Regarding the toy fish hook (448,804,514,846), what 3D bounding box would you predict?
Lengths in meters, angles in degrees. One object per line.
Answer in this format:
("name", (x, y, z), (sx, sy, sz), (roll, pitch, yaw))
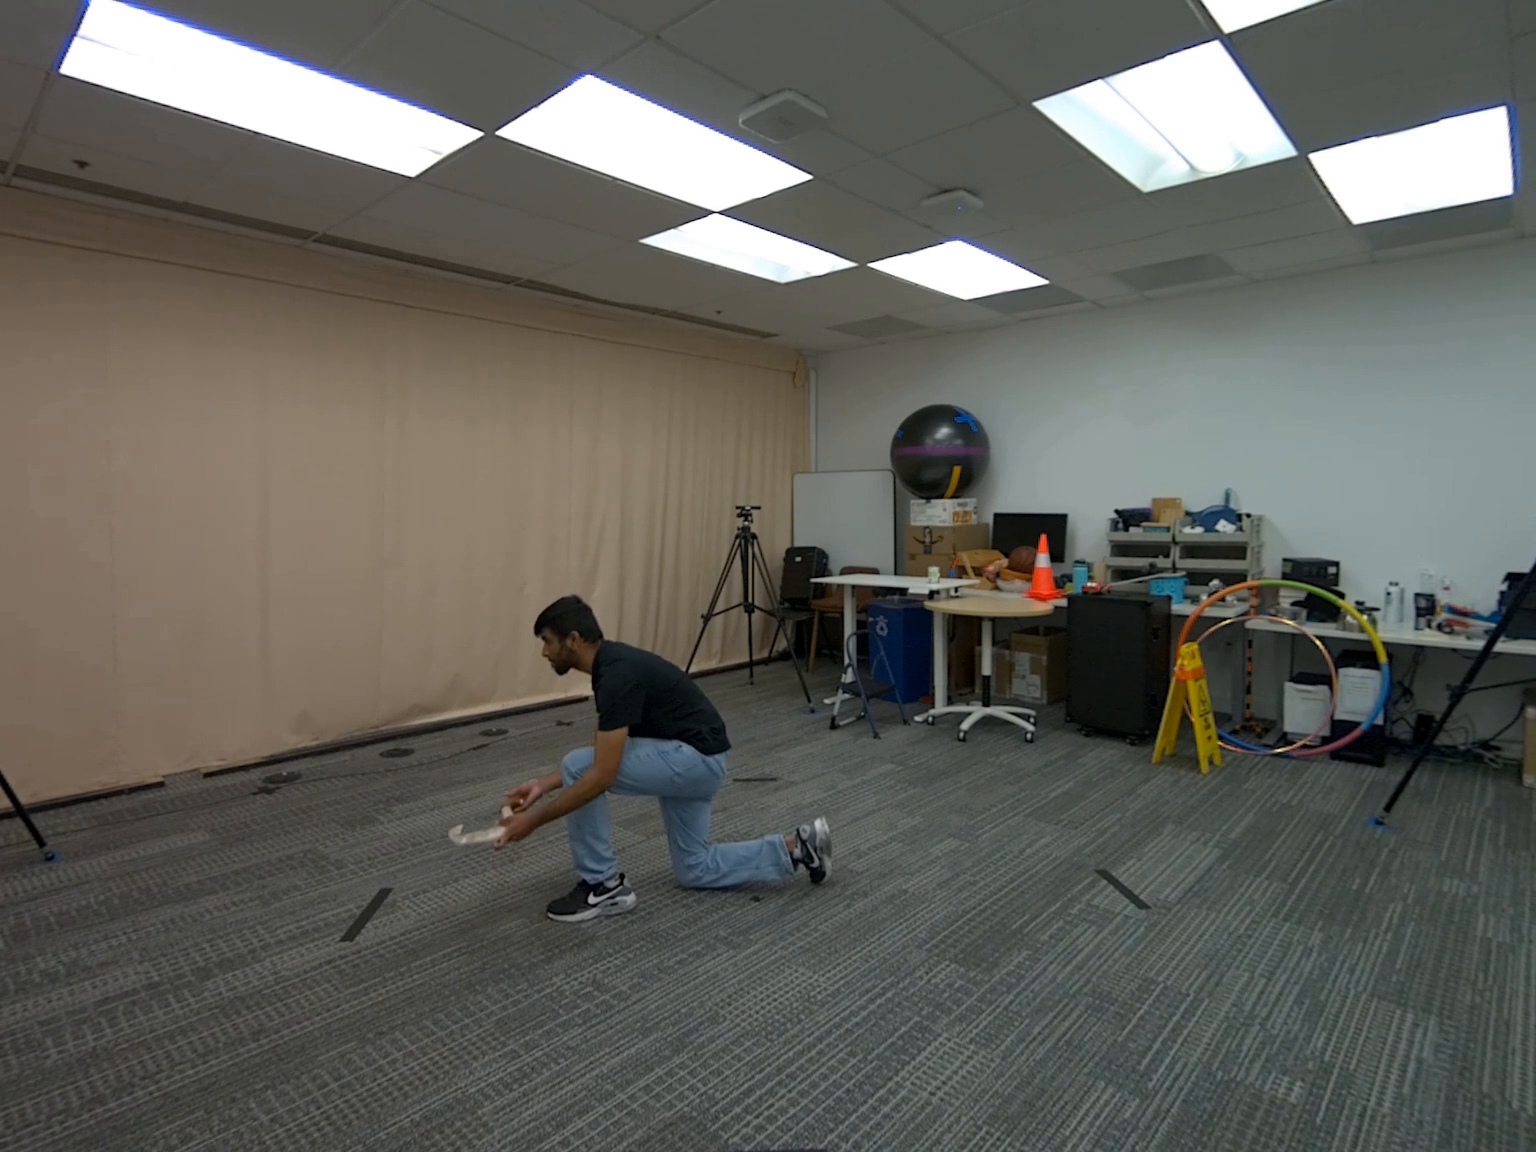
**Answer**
("toy fish hook", (-0.967, 0.842, 2.933), (0.223, 0.048, 0.509), (-4, 1, -6))
